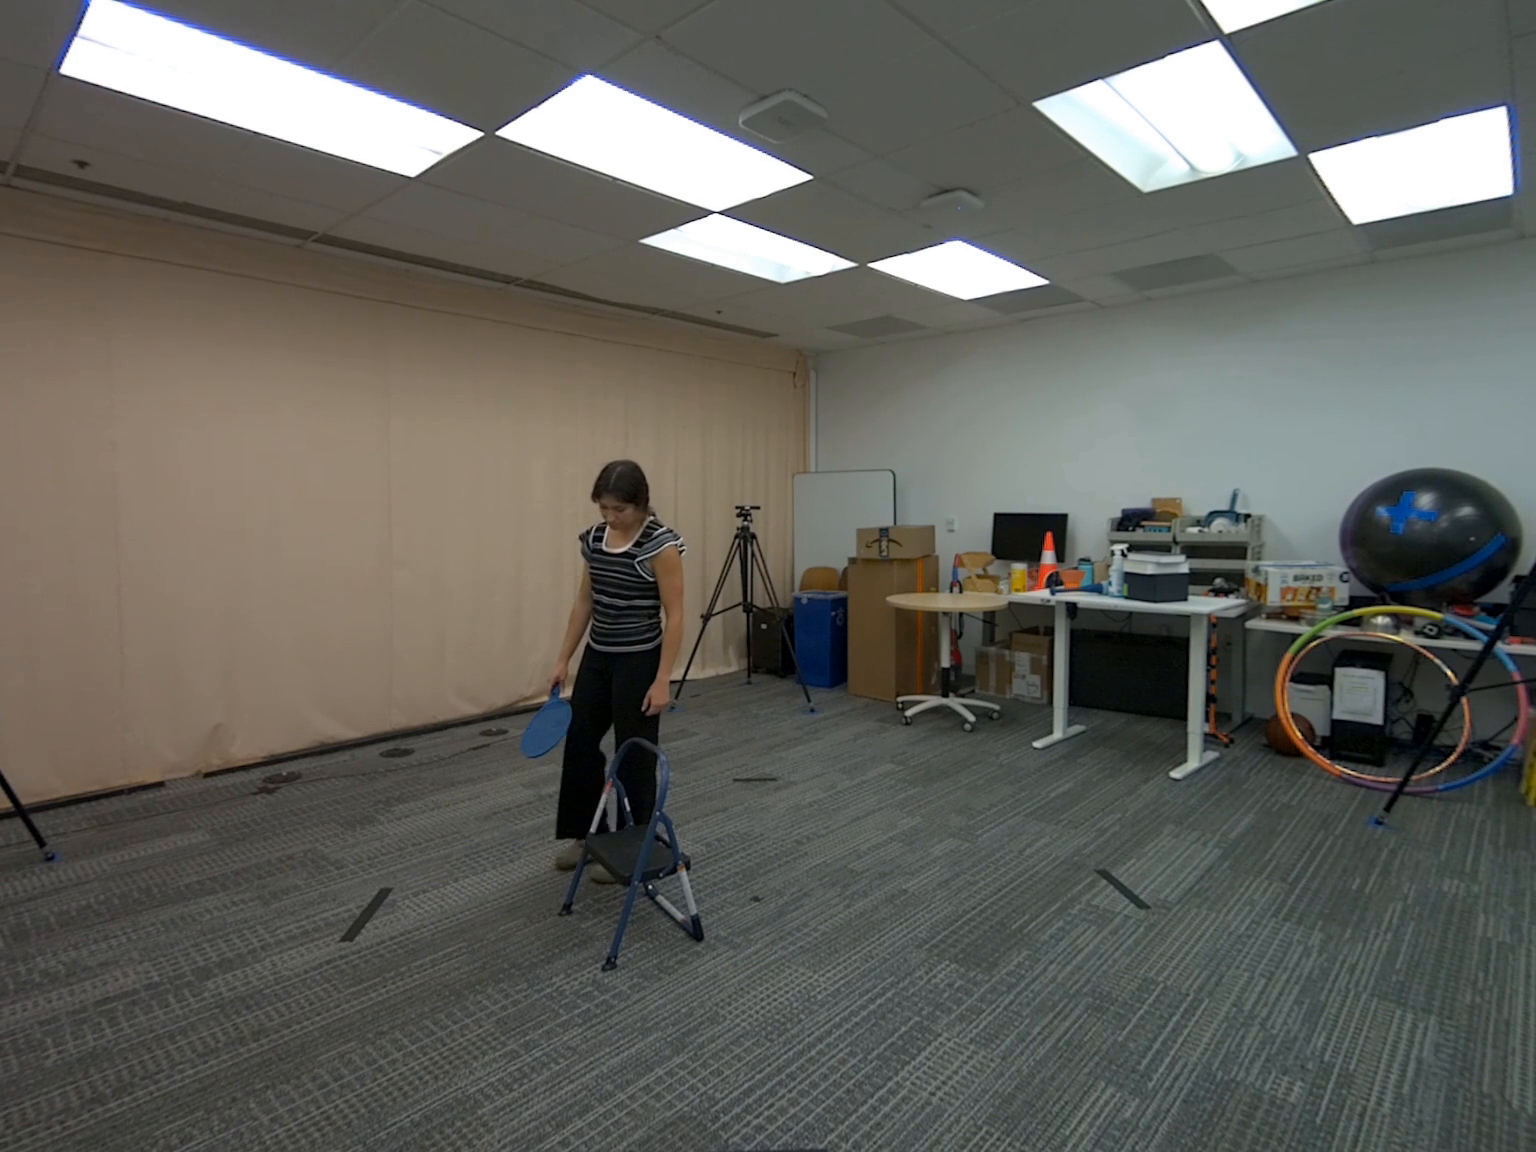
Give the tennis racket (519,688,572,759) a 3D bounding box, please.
[{"bbox_3d":[-0.776,0.493,3.080,0.216,0.031,0.441,-25,30,12],"label":"tennis racket"}]
